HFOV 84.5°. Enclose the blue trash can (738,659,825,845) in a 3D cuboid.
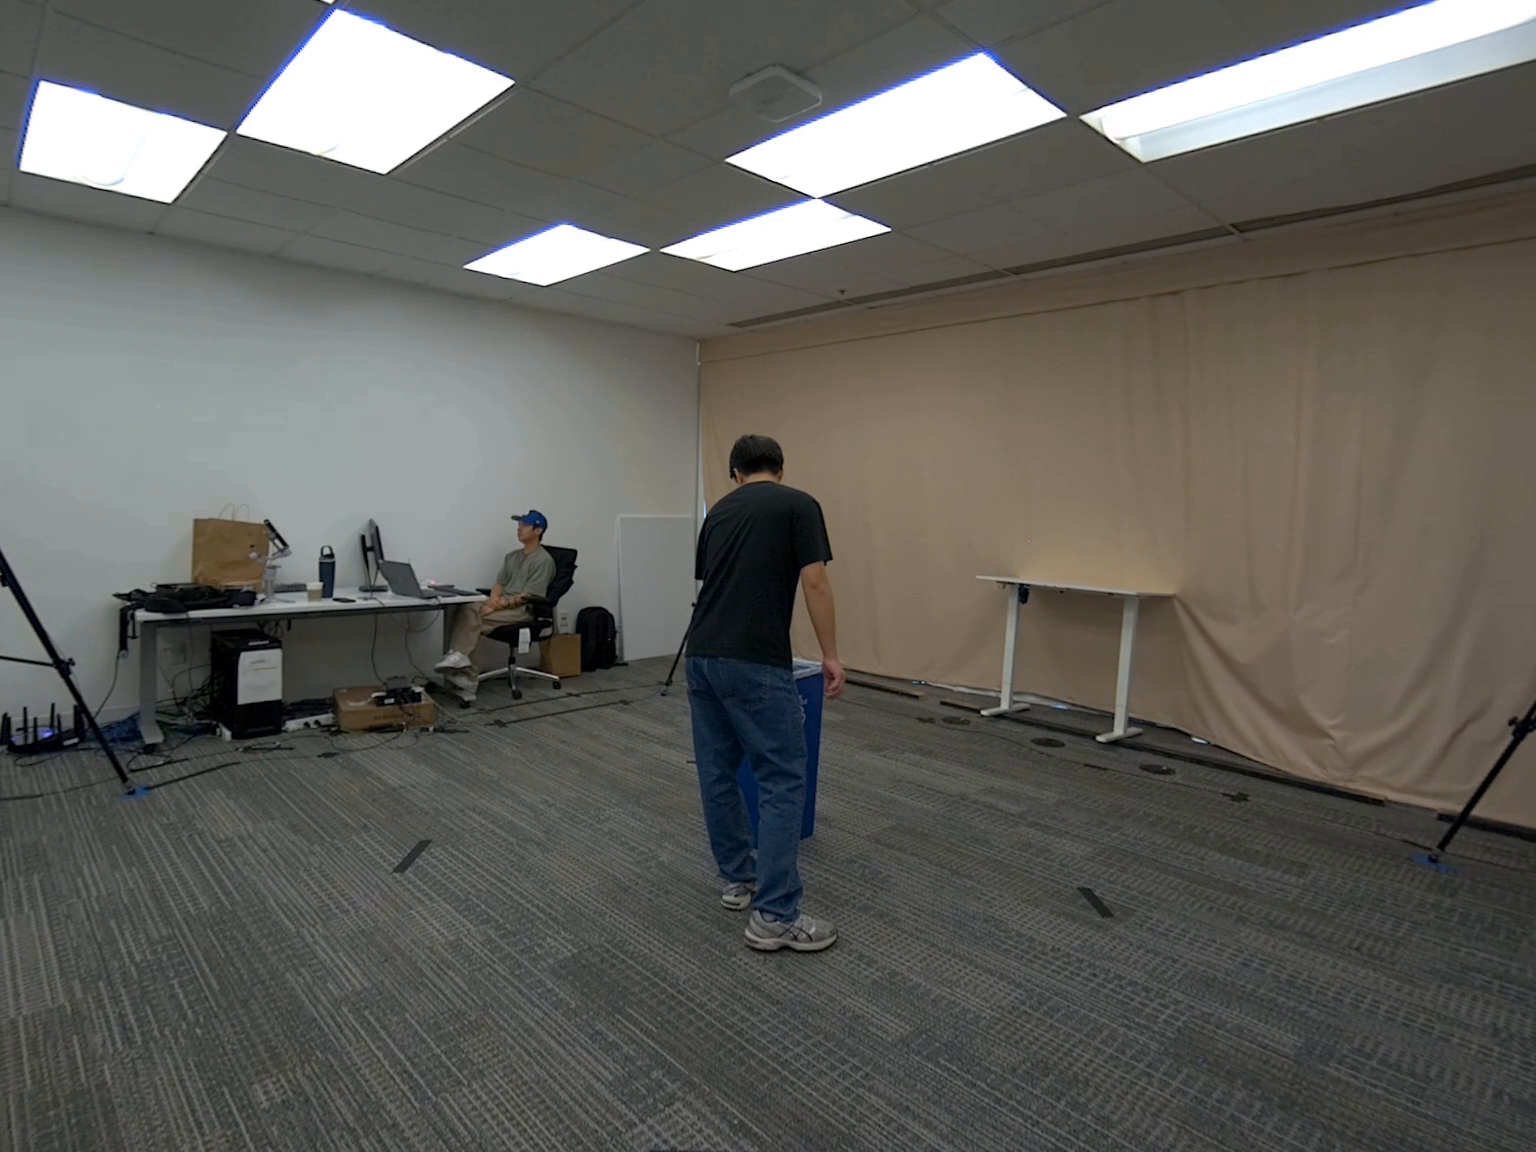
[{"bbox_3d":[-0.004,0.720,3.508,0.388,0.712,0.365,5,4,41],"label":"blue trash can"}]
